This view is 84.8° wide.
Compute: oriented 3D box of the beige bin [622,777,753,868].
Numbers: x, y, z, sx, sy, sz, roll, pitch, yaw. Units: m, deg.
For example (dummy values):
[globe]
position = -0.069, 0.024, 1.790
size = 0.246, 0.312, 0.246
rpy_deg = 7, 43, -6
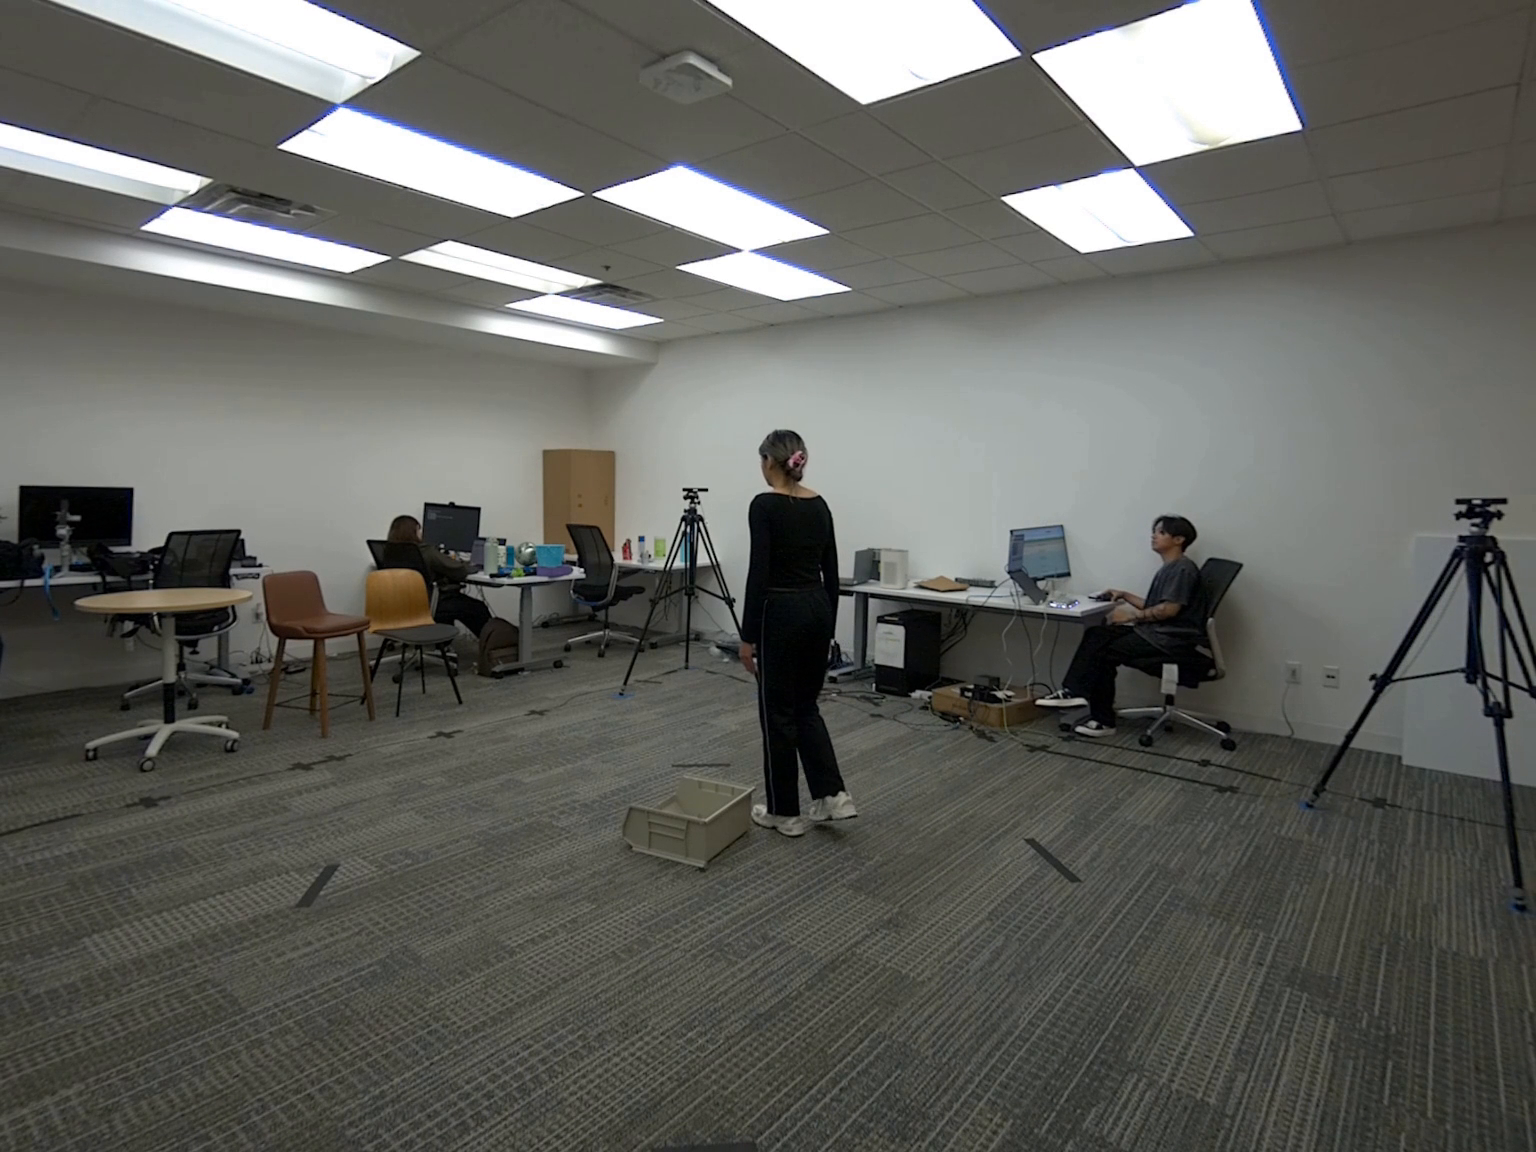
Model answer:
[beige bin]
position = -0.319, 0.956, 3.375
size = 0.388, 0.188, 0.412
rpy_deg = 4, 5, 26
